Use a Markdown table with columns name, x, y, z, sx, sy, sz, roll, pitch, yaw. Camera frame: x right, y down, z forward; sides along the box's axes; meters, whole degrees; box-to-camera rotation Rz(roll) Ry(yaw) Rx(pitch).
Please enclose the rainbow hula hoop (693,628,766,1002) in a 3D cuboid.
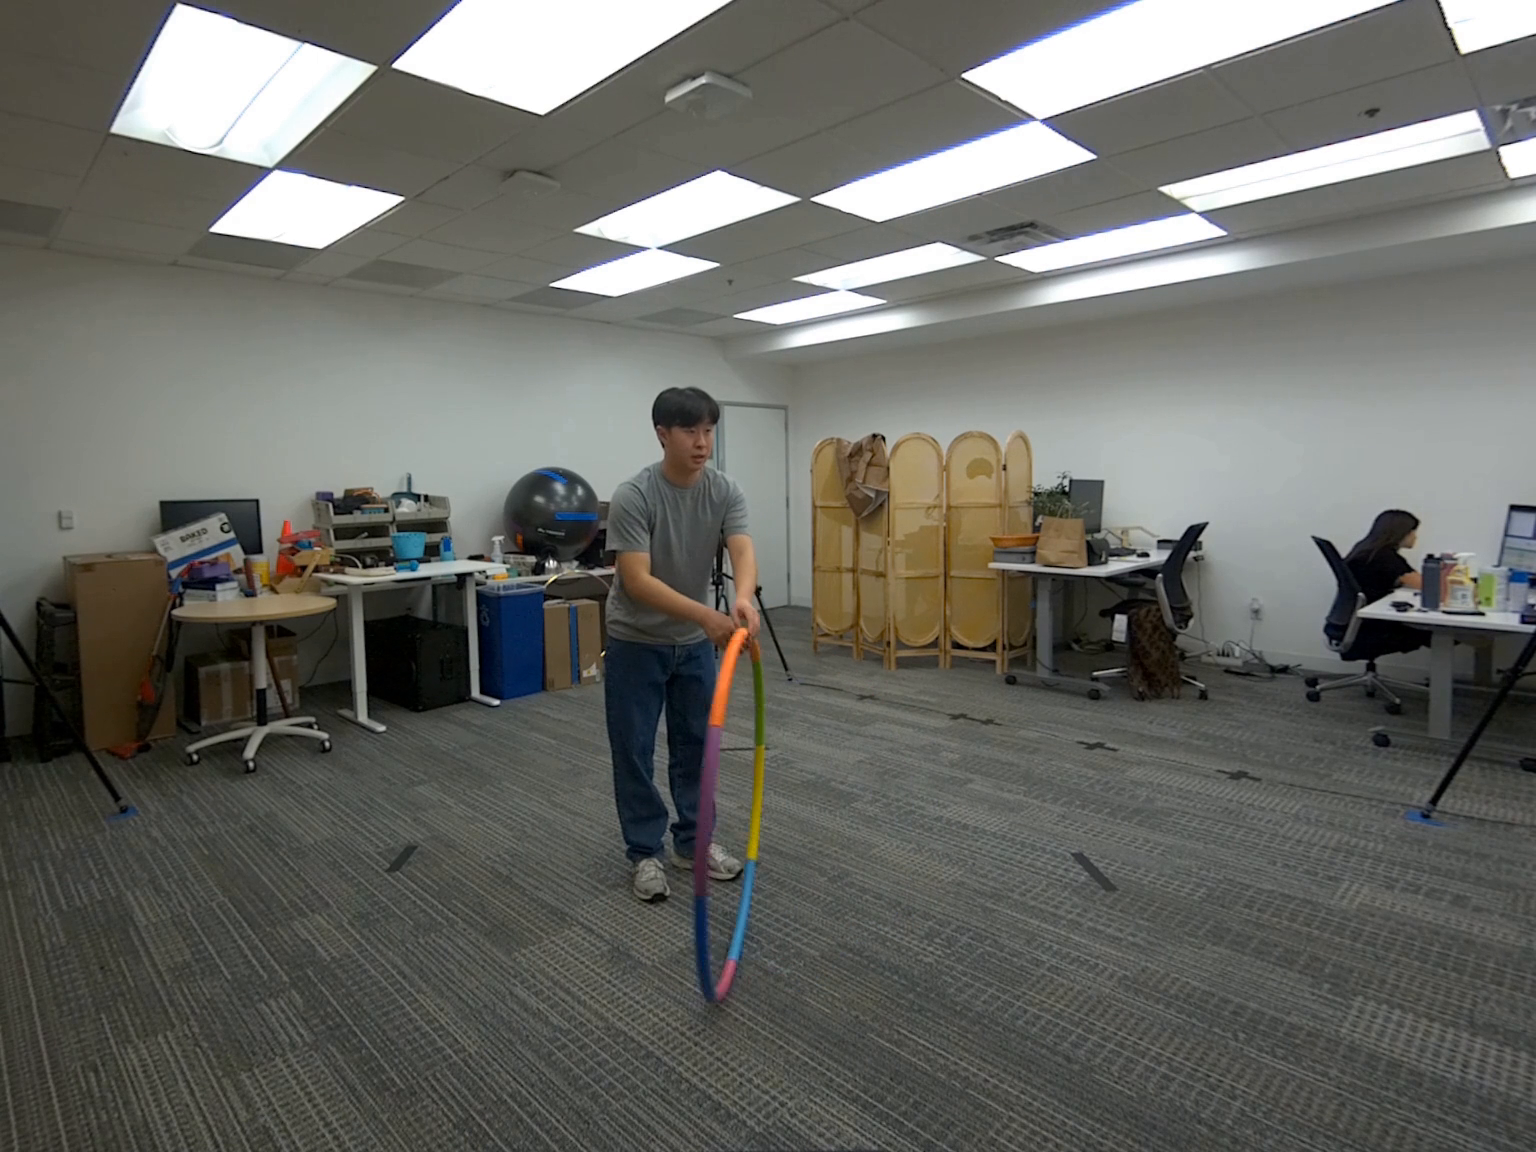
| name | x | y | z | sx | sy | sz | roll | pitch | yaw |
| --- | --- | --- | --- | --- | --- | --- | --- | --- | --- |
| rainbow hula hoop | -0.093 | 0.642 | 2.394 | 0.036 | 0.975 | 0.974 | 2 | 5 | 7 |
